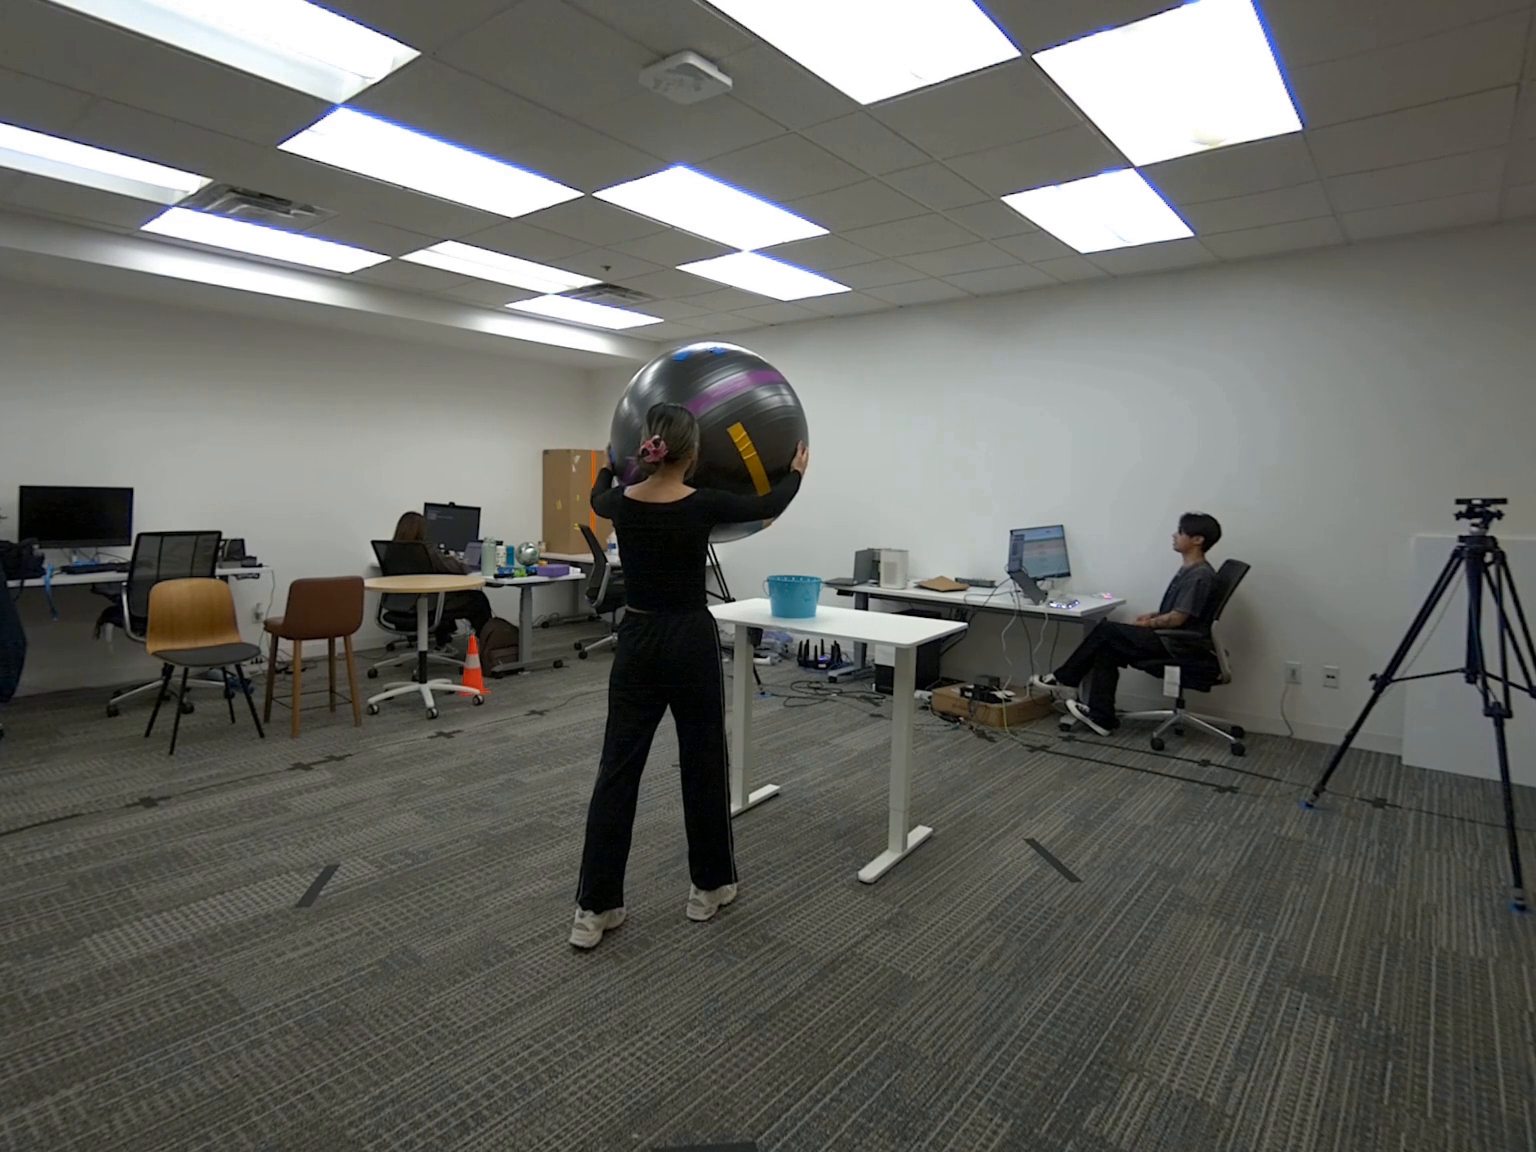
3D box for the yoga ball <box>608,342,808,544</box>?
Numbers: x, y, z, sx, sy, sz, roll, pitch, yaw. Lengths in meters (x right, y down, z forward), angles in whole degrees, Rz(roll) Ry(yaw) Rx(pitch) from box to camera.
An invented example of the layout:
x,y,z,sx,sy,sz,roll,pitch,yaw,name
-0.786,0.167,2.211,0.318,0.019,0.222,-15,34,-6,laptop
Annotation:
x,y,z,sx,sy,sz,roll,pitch,yaw,name
-0.228,-0.497,3.233,0.757,0.756,0.761,1,4,-2,yoga ball
